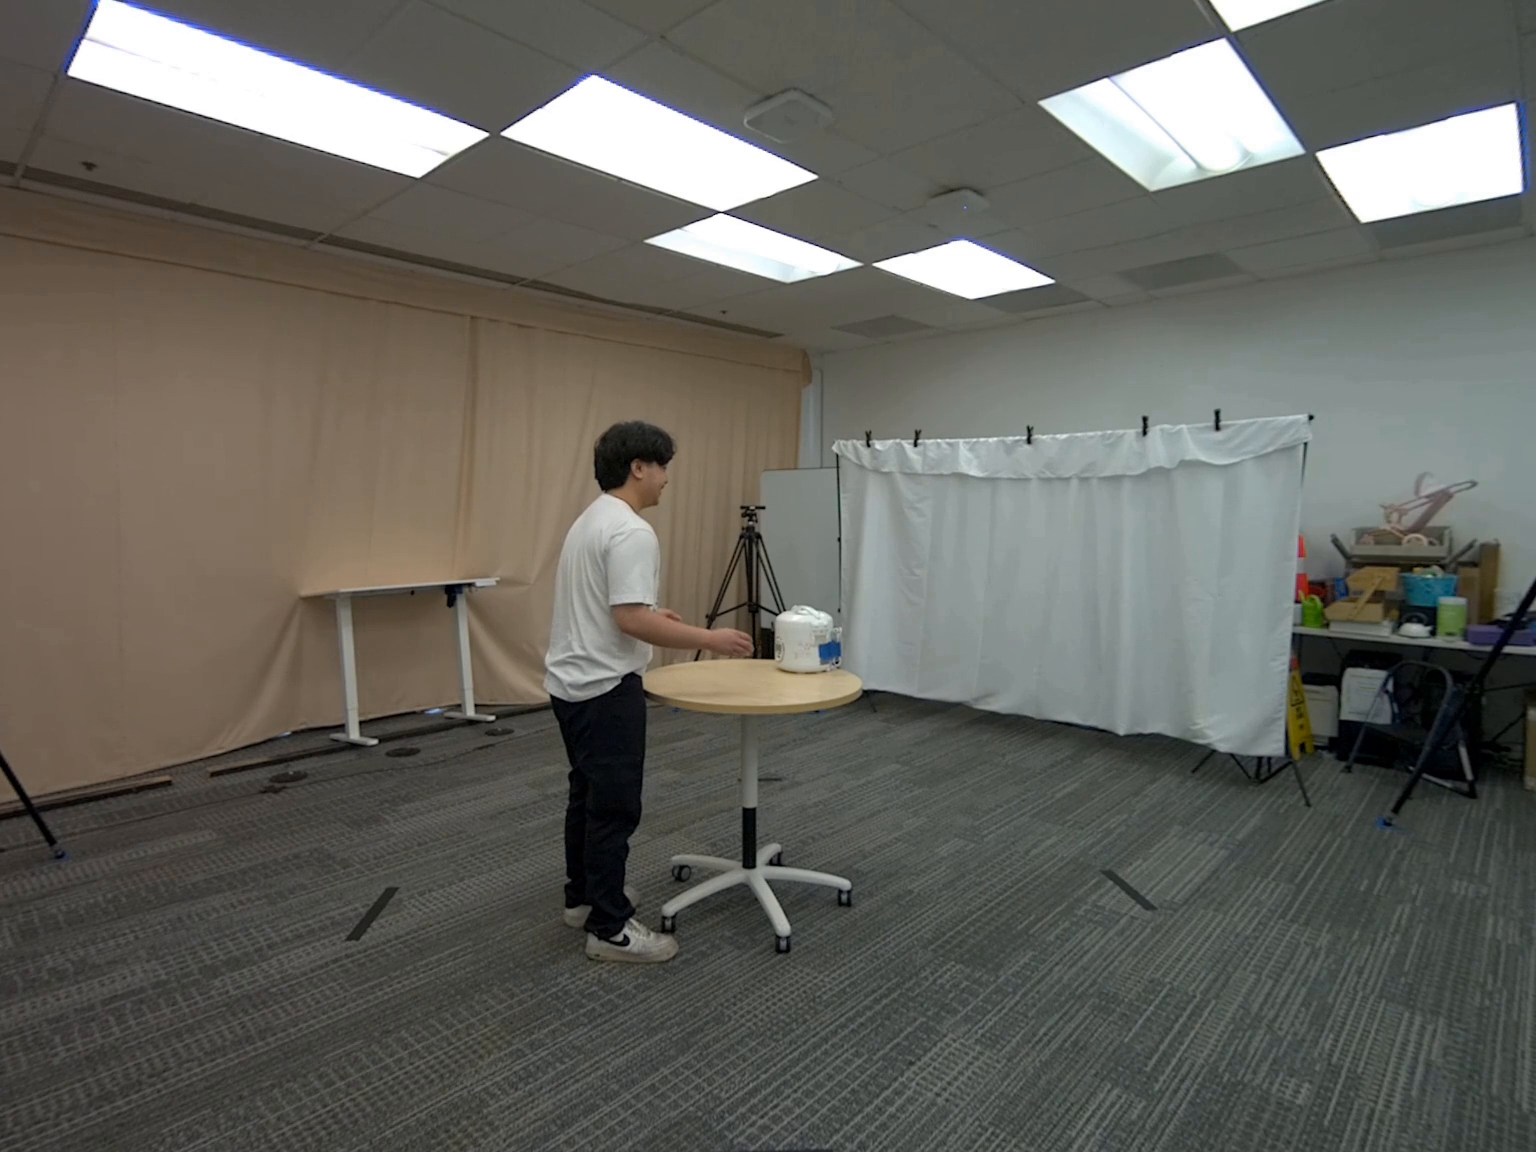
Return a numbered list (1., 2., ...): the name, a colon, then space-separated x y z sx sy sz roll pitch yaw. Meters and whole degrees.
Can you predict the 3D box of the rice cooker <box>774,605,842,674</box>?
1. rice cooker: 0.138 0.226 3.062 0.212 0.232 0.227 0 2 -28
